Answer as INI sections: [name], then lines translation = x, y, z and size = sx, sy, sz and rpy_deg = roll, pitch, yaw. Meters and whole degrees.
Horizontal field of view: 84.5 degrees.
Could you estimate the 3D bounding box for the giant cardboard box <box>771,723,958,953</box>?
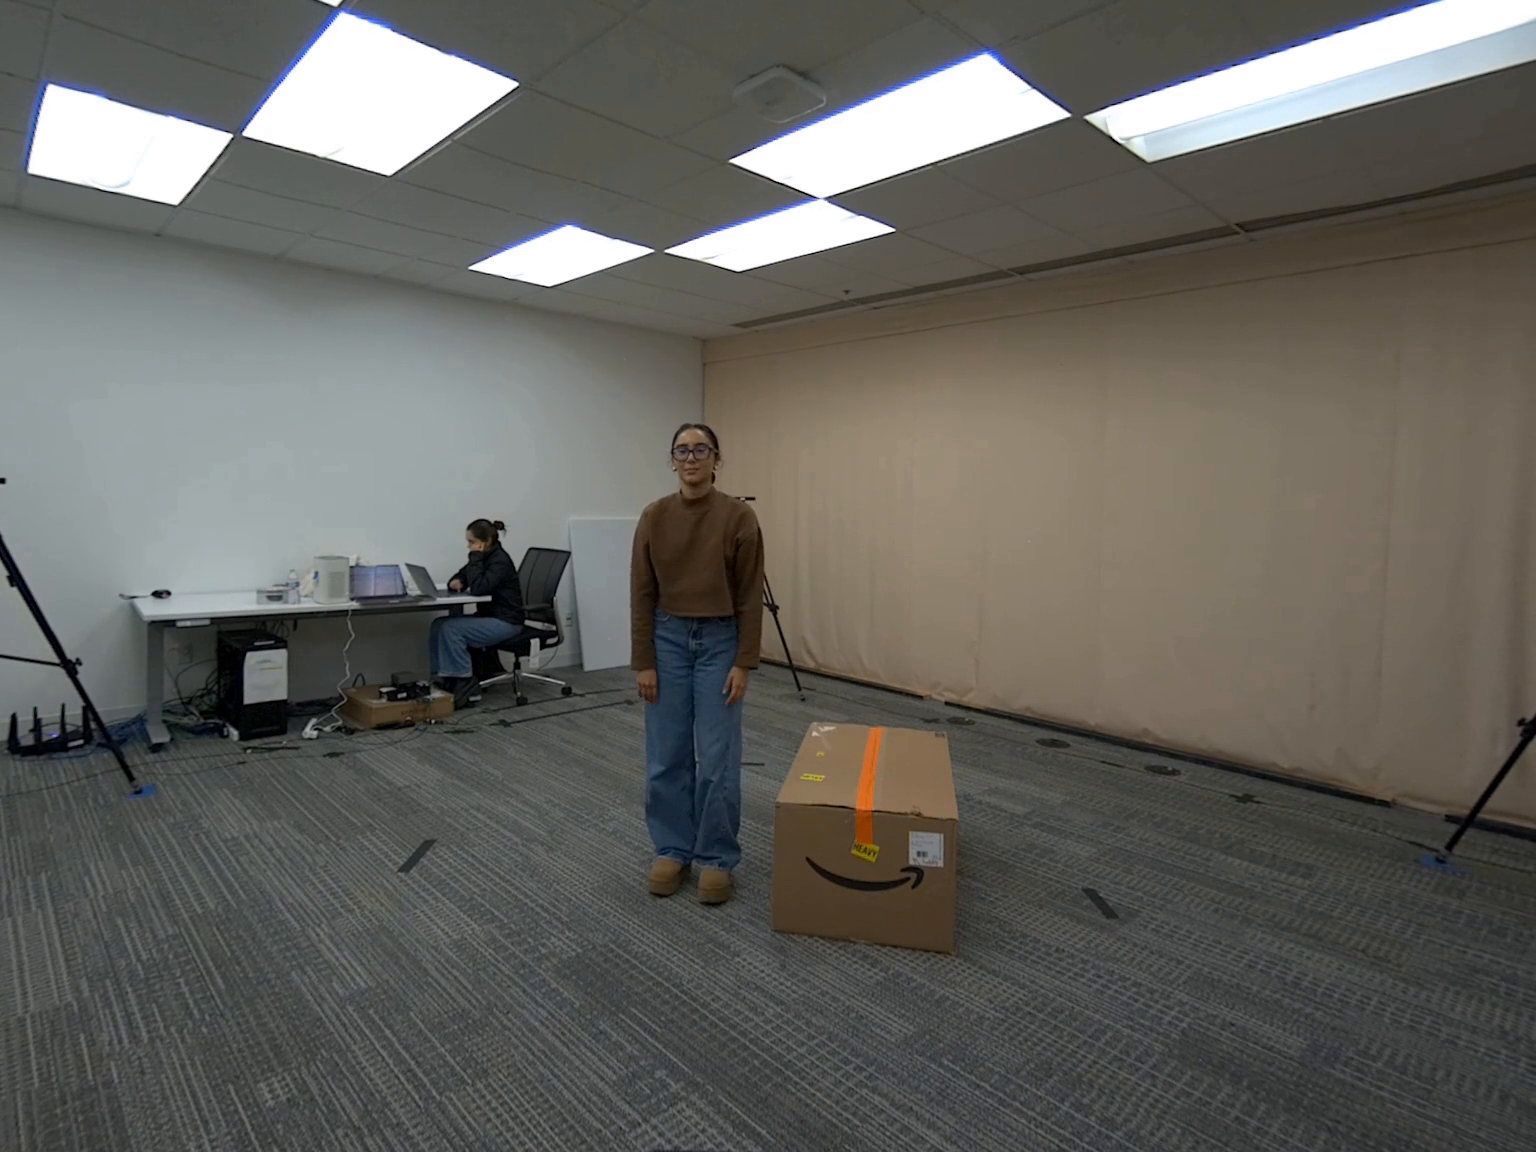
[giant cardboard box]
translation = 0.379, 0.901, 3.140
size = 0.582, 0.425, 1.020
rpy_deg = 2, 5, 10
